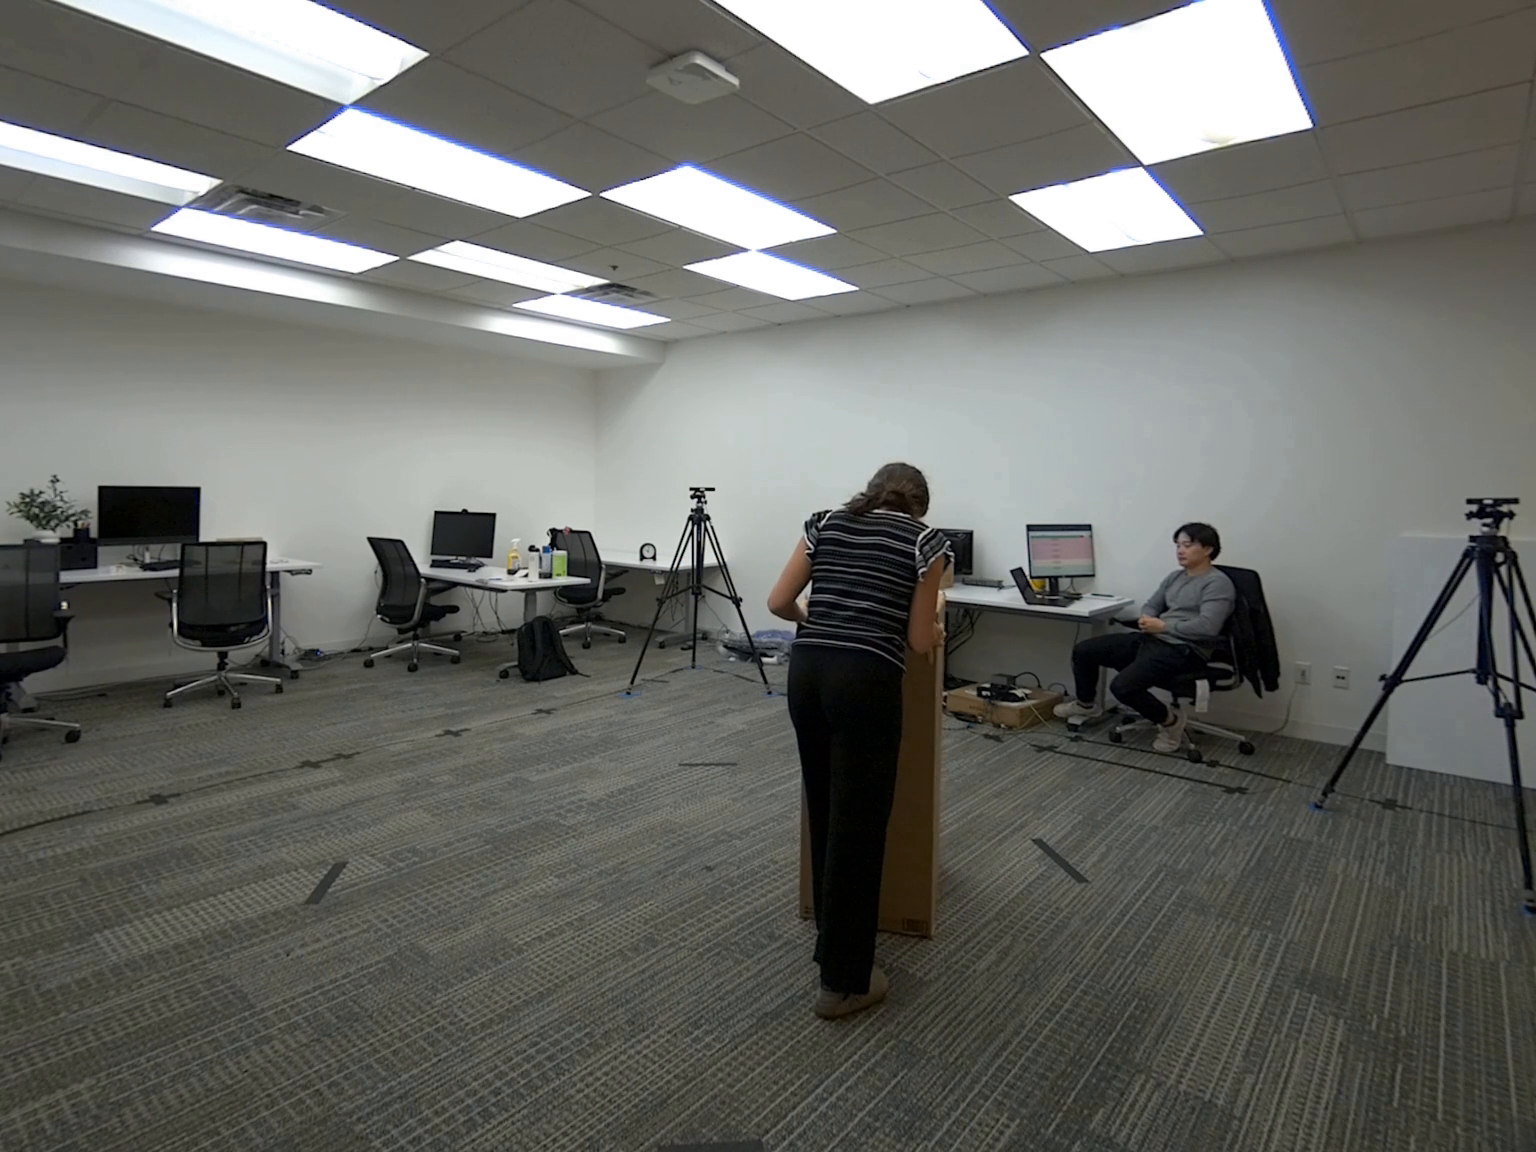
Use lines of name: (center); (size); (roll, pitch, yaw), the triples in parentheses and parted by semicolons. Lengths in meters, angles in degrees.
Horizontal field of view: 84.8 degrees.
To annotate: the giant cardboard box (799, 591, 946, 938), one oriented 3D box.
giant cardboard box: (0.368, 0.590, 2.959); (0.434, 1.024, 0.569); (2, 2, 15)
